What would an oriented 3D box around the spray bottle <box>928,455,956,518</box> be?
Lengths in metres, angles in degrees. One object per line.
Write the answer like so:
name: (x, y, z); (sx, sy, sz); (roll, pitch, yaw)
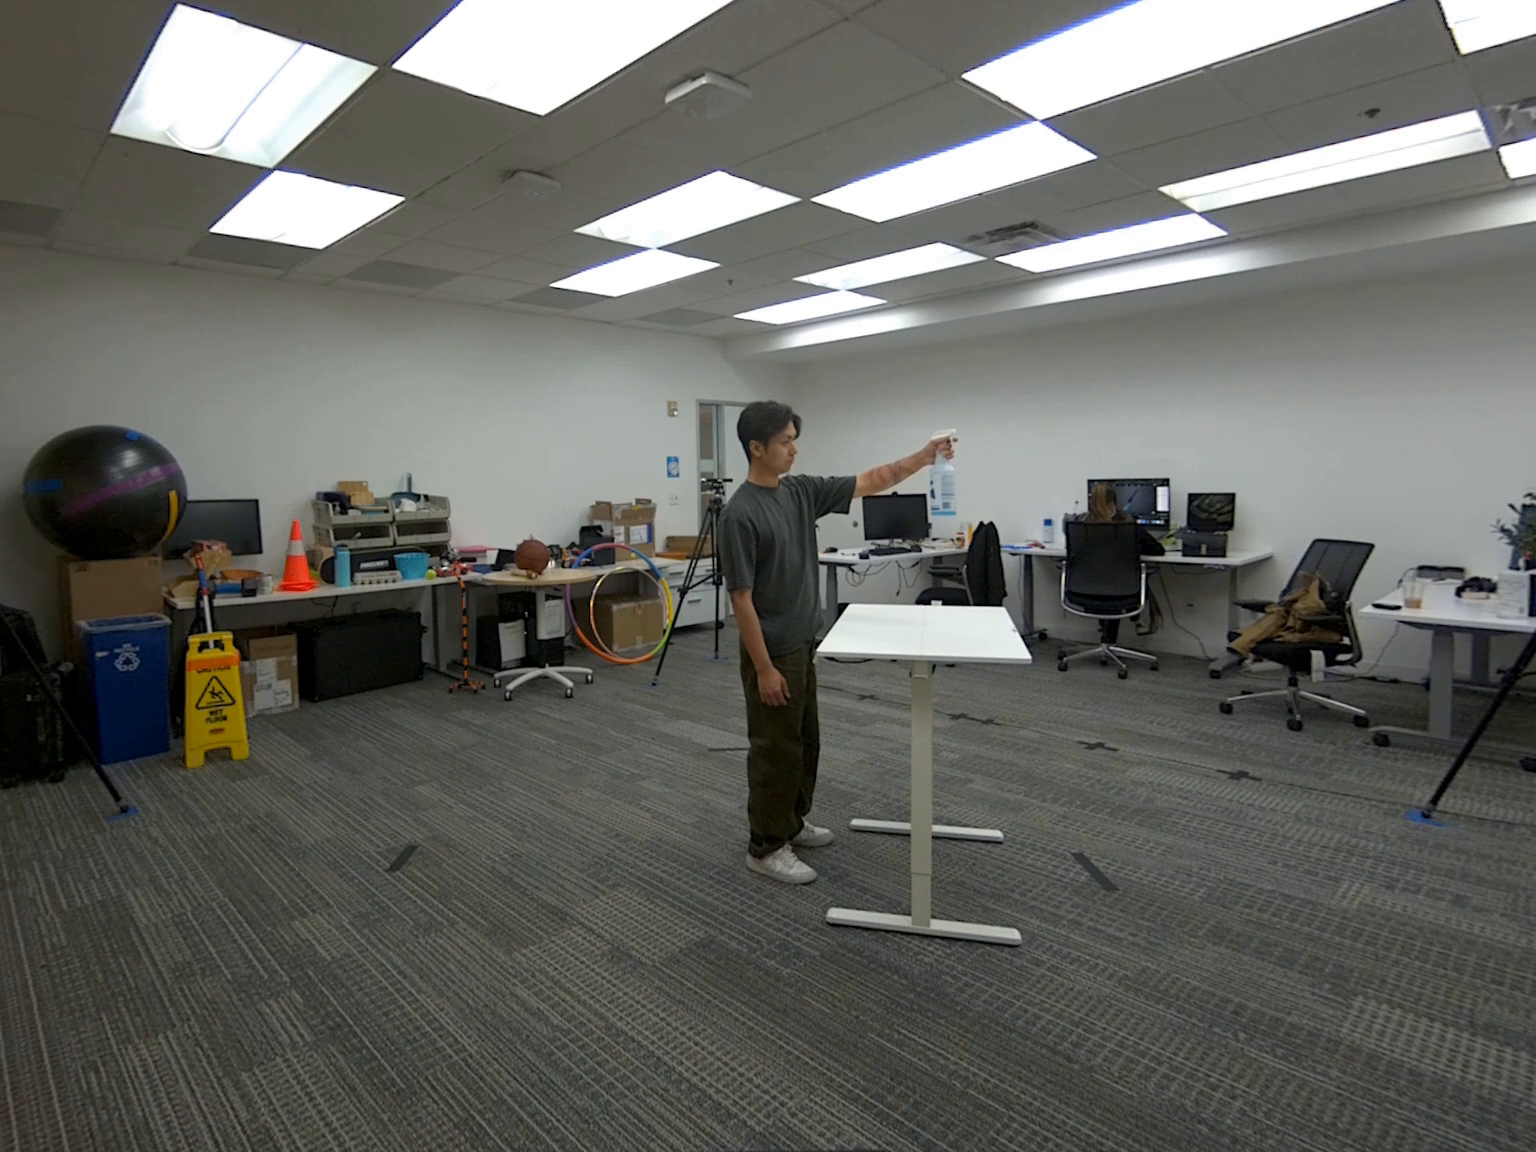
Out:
spray bottle: (0.612, -0.357, 2.969); (0.085, 0.296, 0.092); (-4, 3, -28)
